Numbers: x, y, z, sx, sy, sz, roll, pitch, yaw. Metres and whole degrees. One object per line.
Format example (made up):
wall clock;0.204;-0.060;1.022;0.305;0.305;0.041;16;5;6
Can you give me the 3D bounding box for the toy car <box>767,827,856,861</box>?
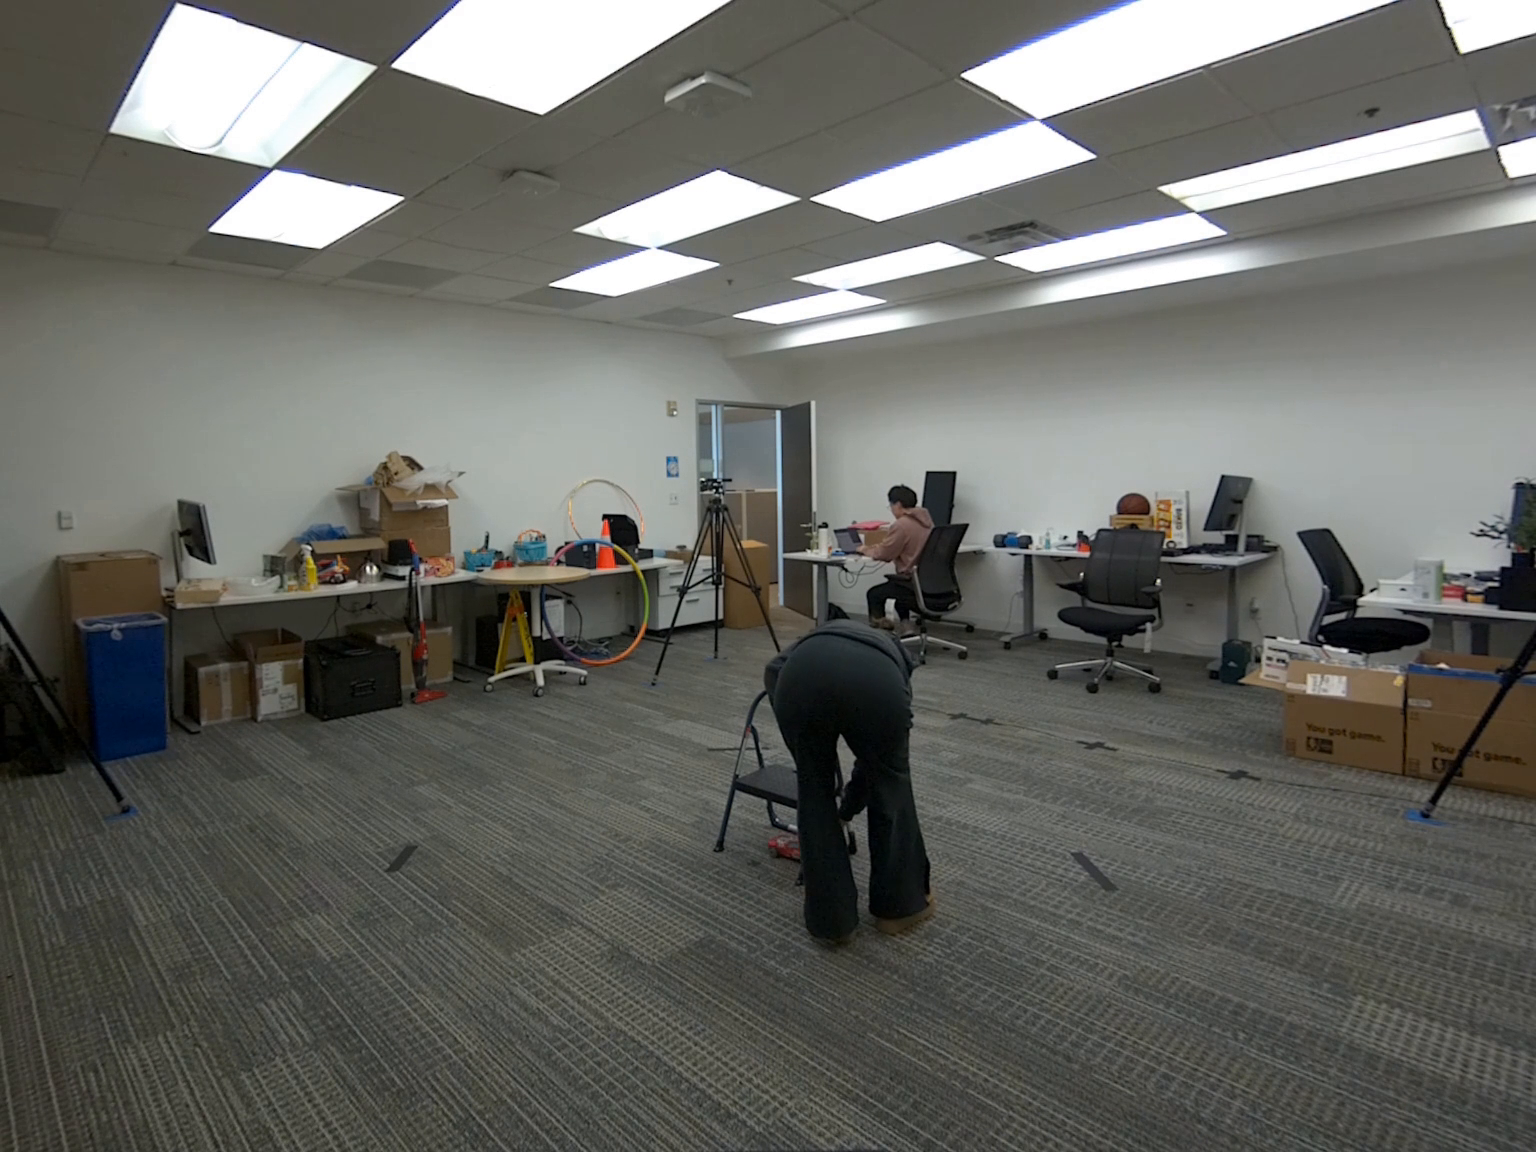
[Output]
toy car;0.139;1.014;3.119;0.260;0.083;0.127;-9;-1;34
